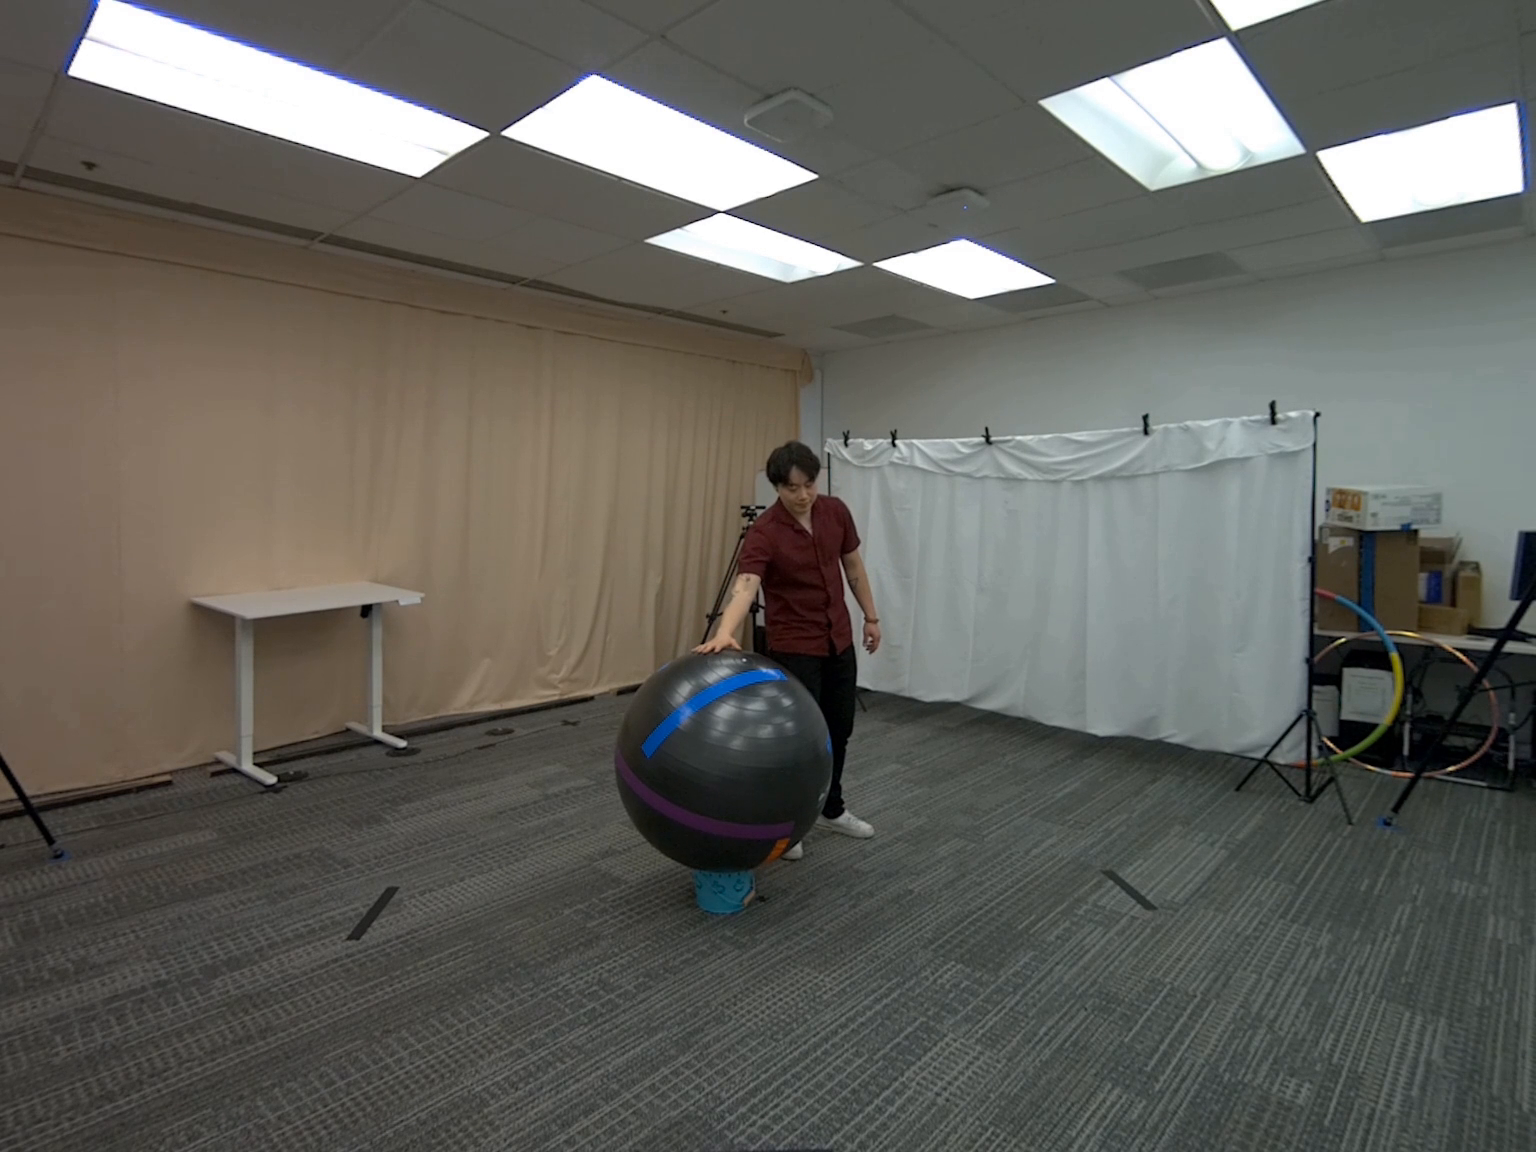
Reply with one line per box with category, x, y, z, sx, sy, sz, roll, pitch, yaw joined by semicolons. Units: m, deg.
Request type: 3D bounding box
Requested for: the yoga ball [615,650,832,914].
yoga ball;-0.154;0.639;2.938;0.757;0.756;0.760;0;4;-2
